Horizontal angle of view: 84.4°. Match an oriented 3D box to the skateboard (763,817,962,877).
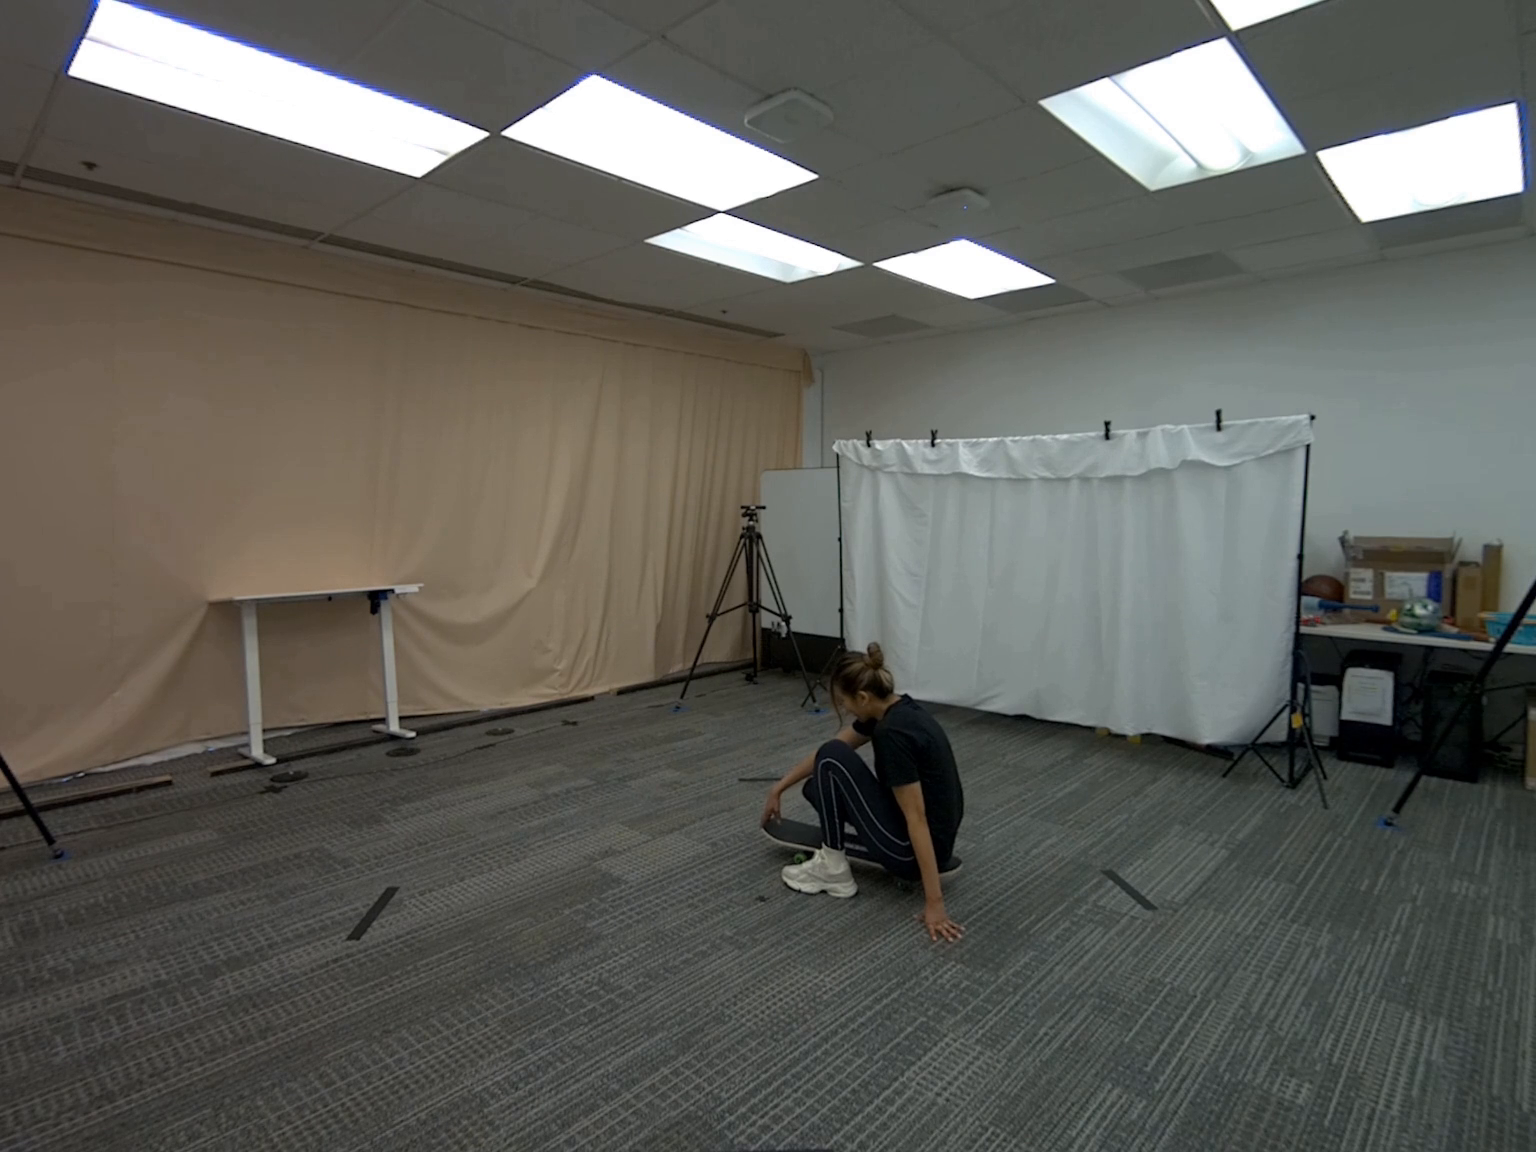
[{"bbox_3d":[0.339,1.062,3.212,0.808,0.110,0.189,3,7,29],"label":"skateboard"}]
